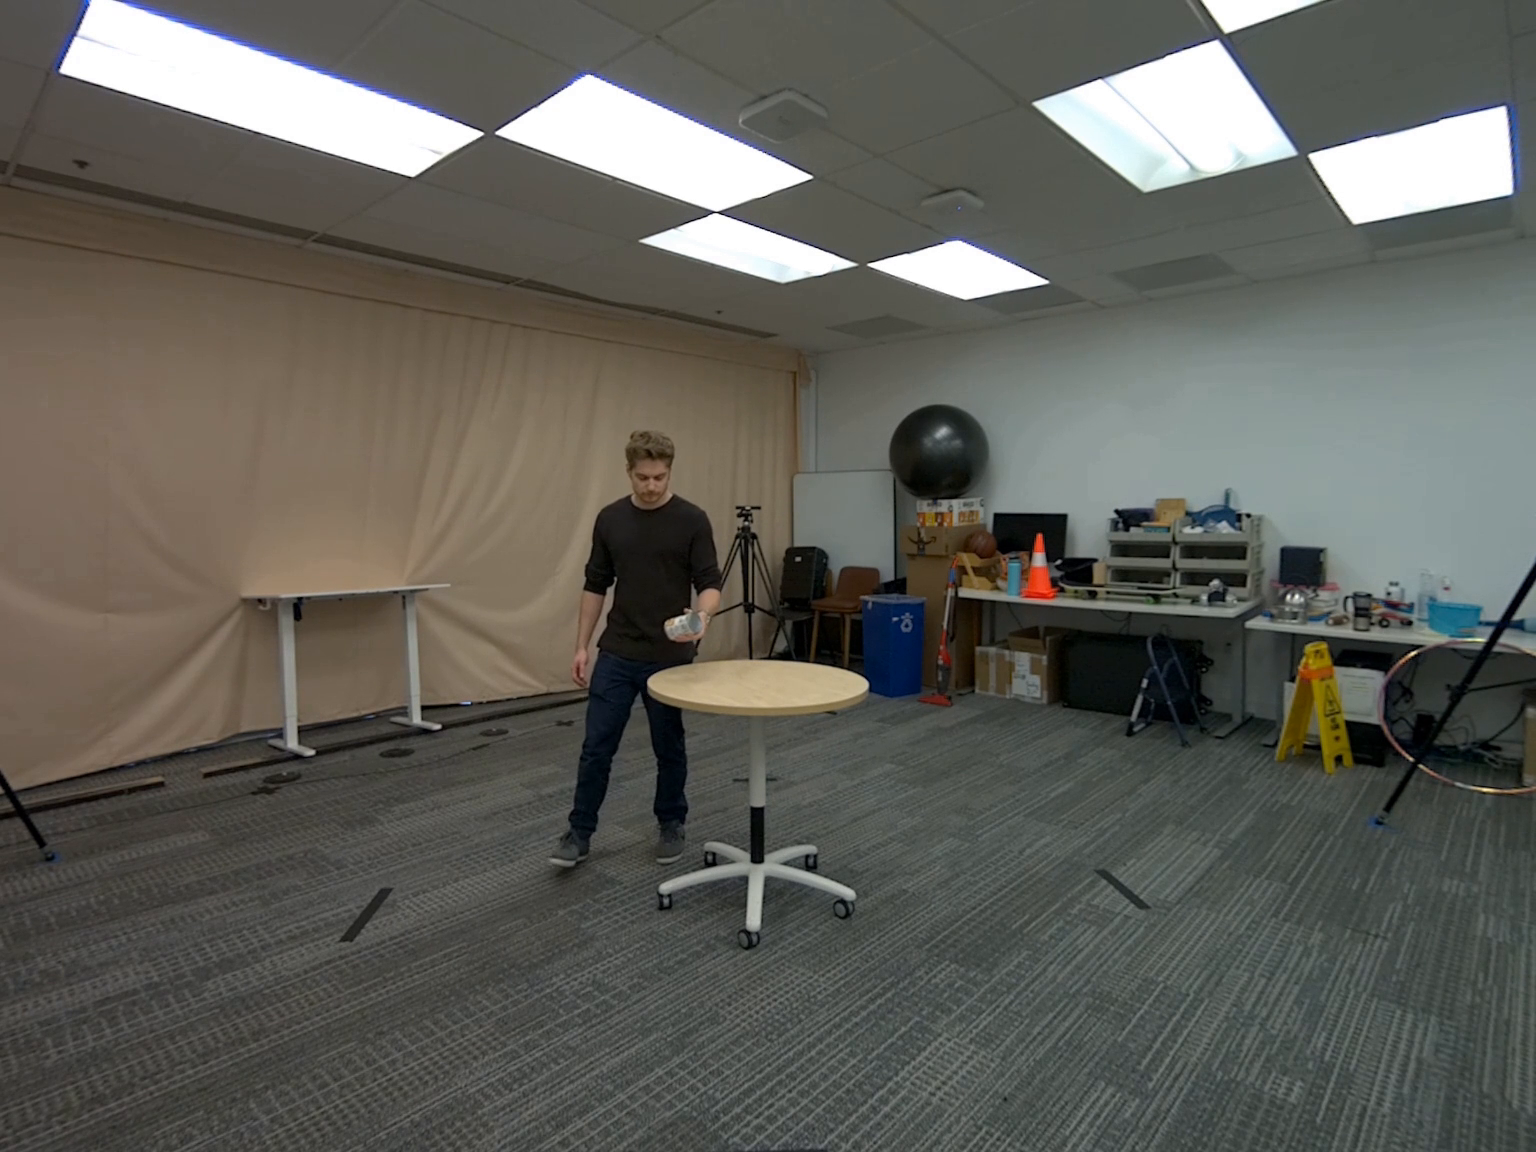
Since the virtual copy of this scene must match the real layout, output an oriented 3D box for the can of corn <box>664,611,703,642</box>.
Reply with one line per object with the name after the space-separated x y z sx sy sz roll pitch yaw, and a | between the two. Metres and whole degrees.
-0.301 0.168 2.945 0.113 0.074 0.073 -7 1 18 | can of corn
